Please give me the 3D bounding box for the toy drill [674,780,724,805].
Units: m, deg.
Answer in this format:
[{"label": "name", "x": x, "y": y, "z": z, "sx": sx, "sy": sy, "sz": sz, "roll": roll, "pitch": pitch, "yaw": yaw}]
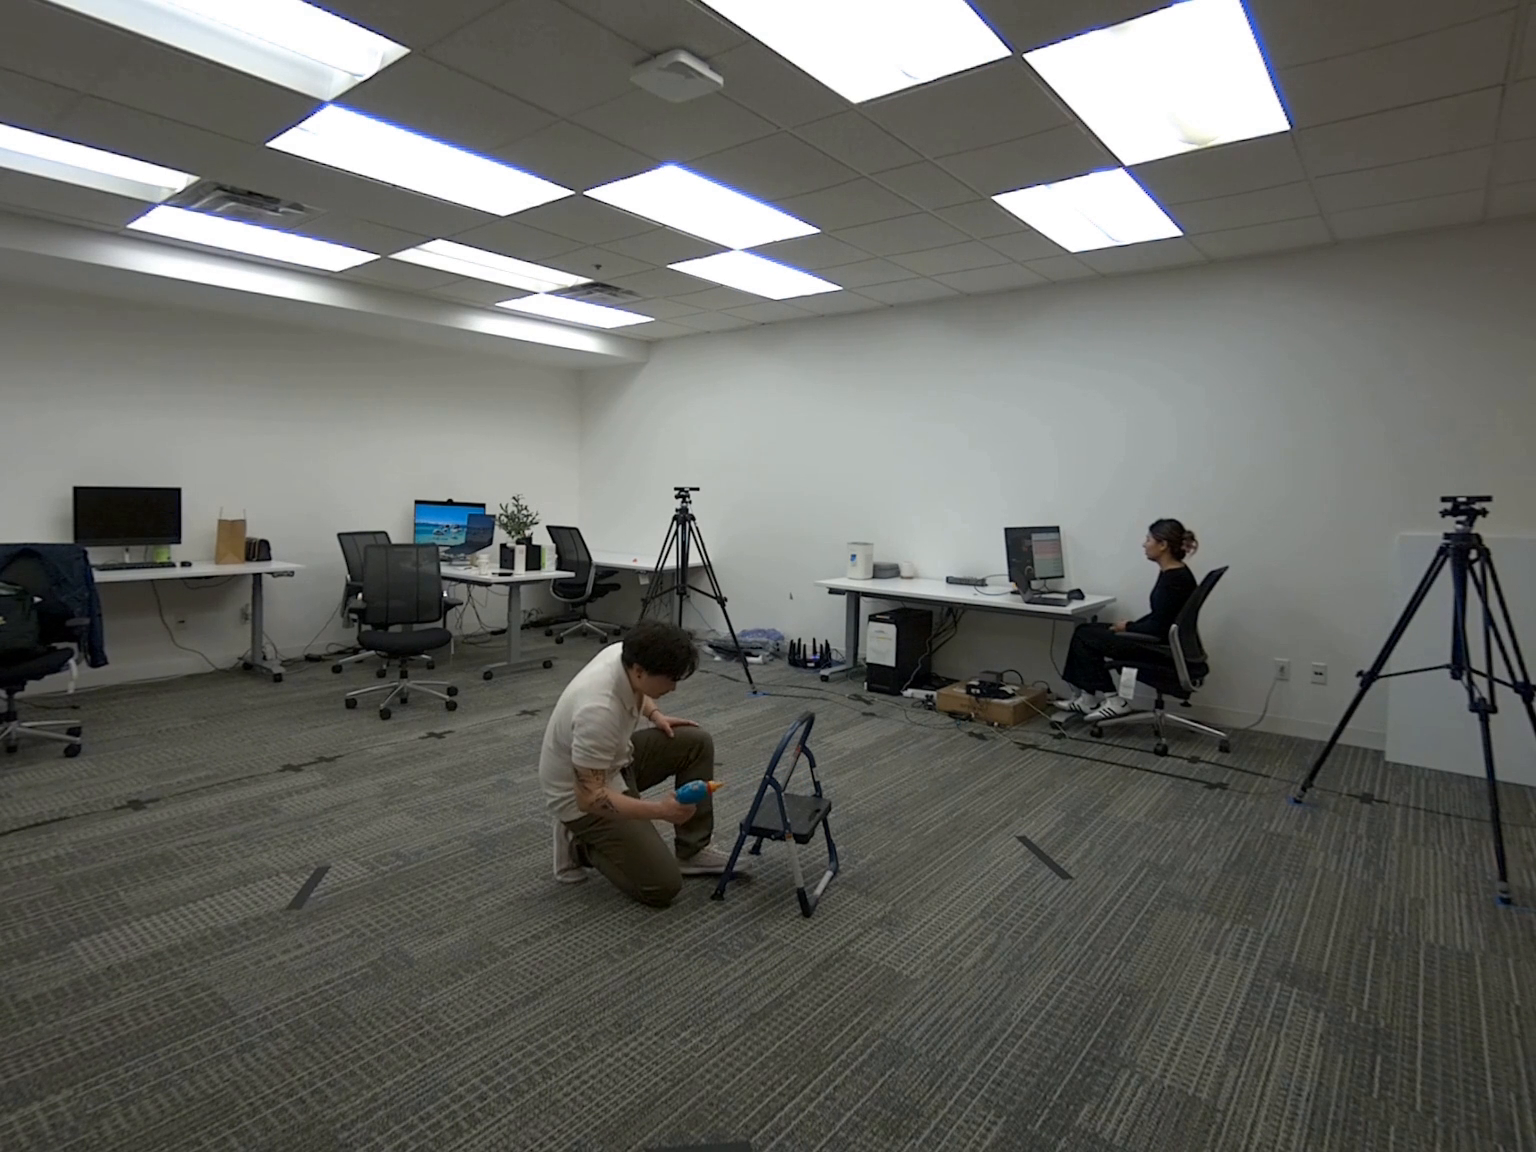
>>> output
[{"label": "toy drill", "x": -0.226, "y": 0.685, "z": 2.644, "sx": 0.166, "sy": 0.063, "sz": 0.143, "roll": -7, "pitch": -37, "yaw": -23}]
